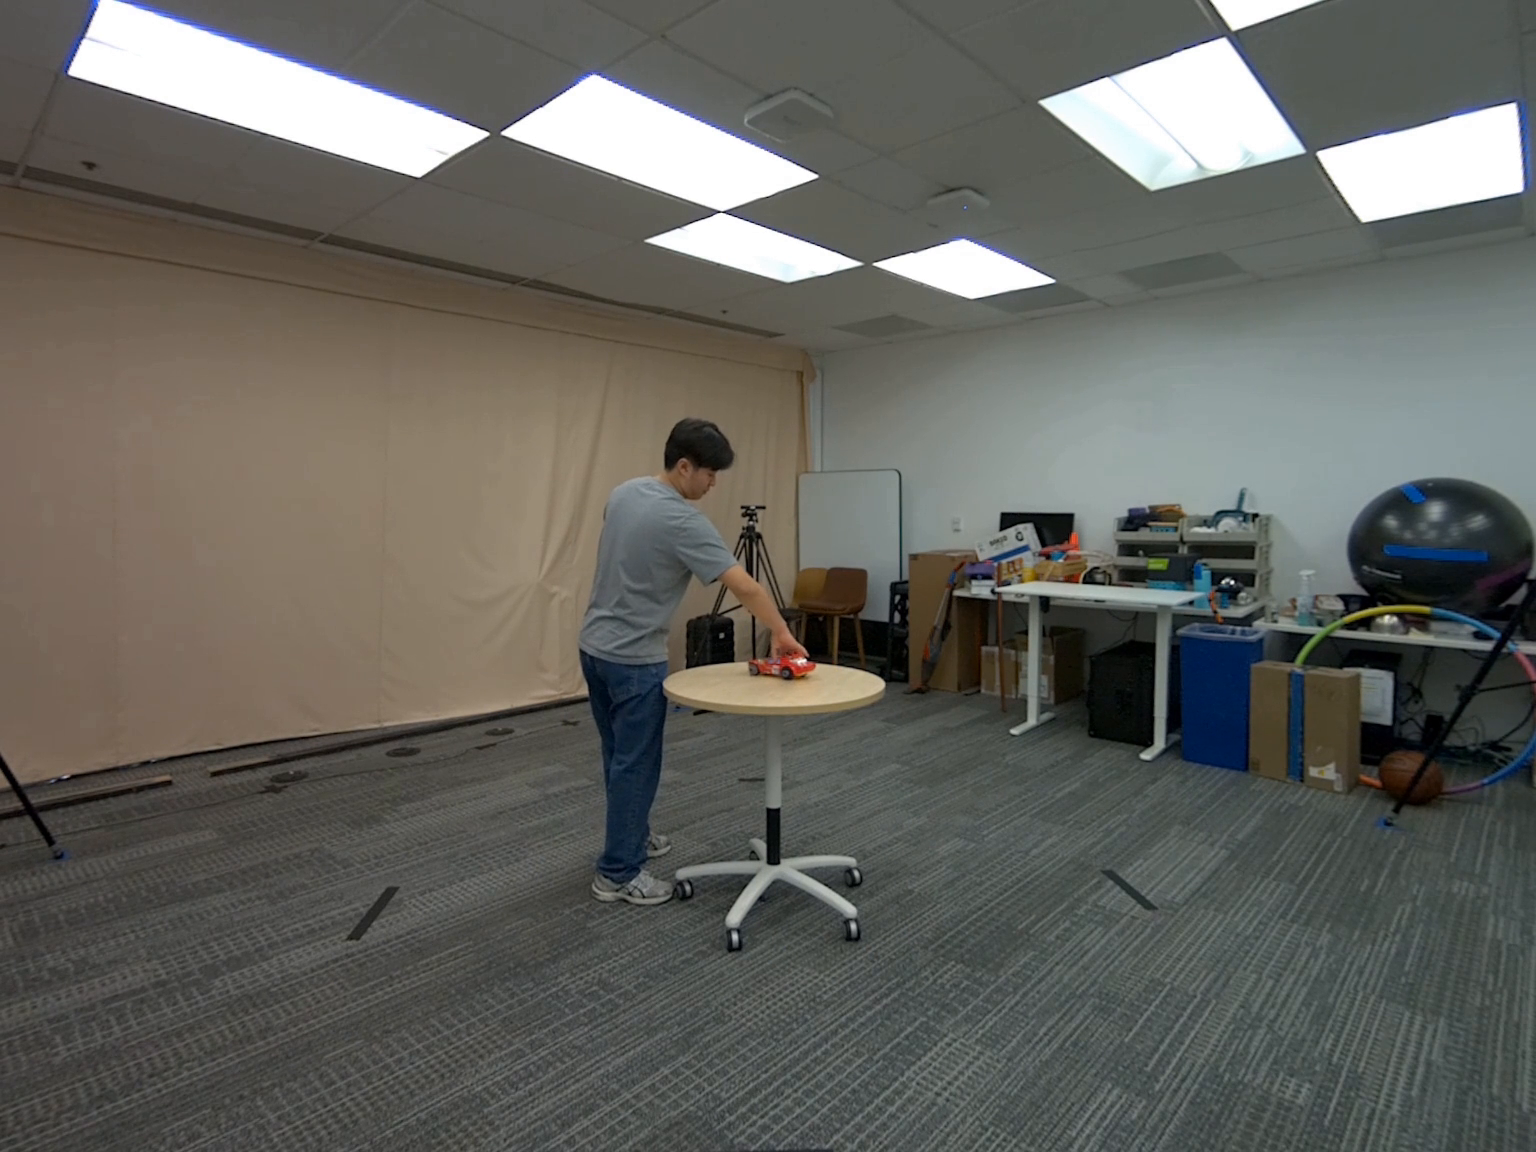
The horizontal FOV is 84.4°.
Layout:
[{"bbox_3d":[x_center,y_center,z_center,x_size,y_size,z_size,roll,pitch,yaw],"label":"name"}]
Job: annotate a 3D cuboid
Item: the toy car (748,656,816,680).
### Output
[{"bbox_3d":[0.059,0.329,2.996,0.261,0.083,0.126,-11,-4,37],"label":"toy car"}]
